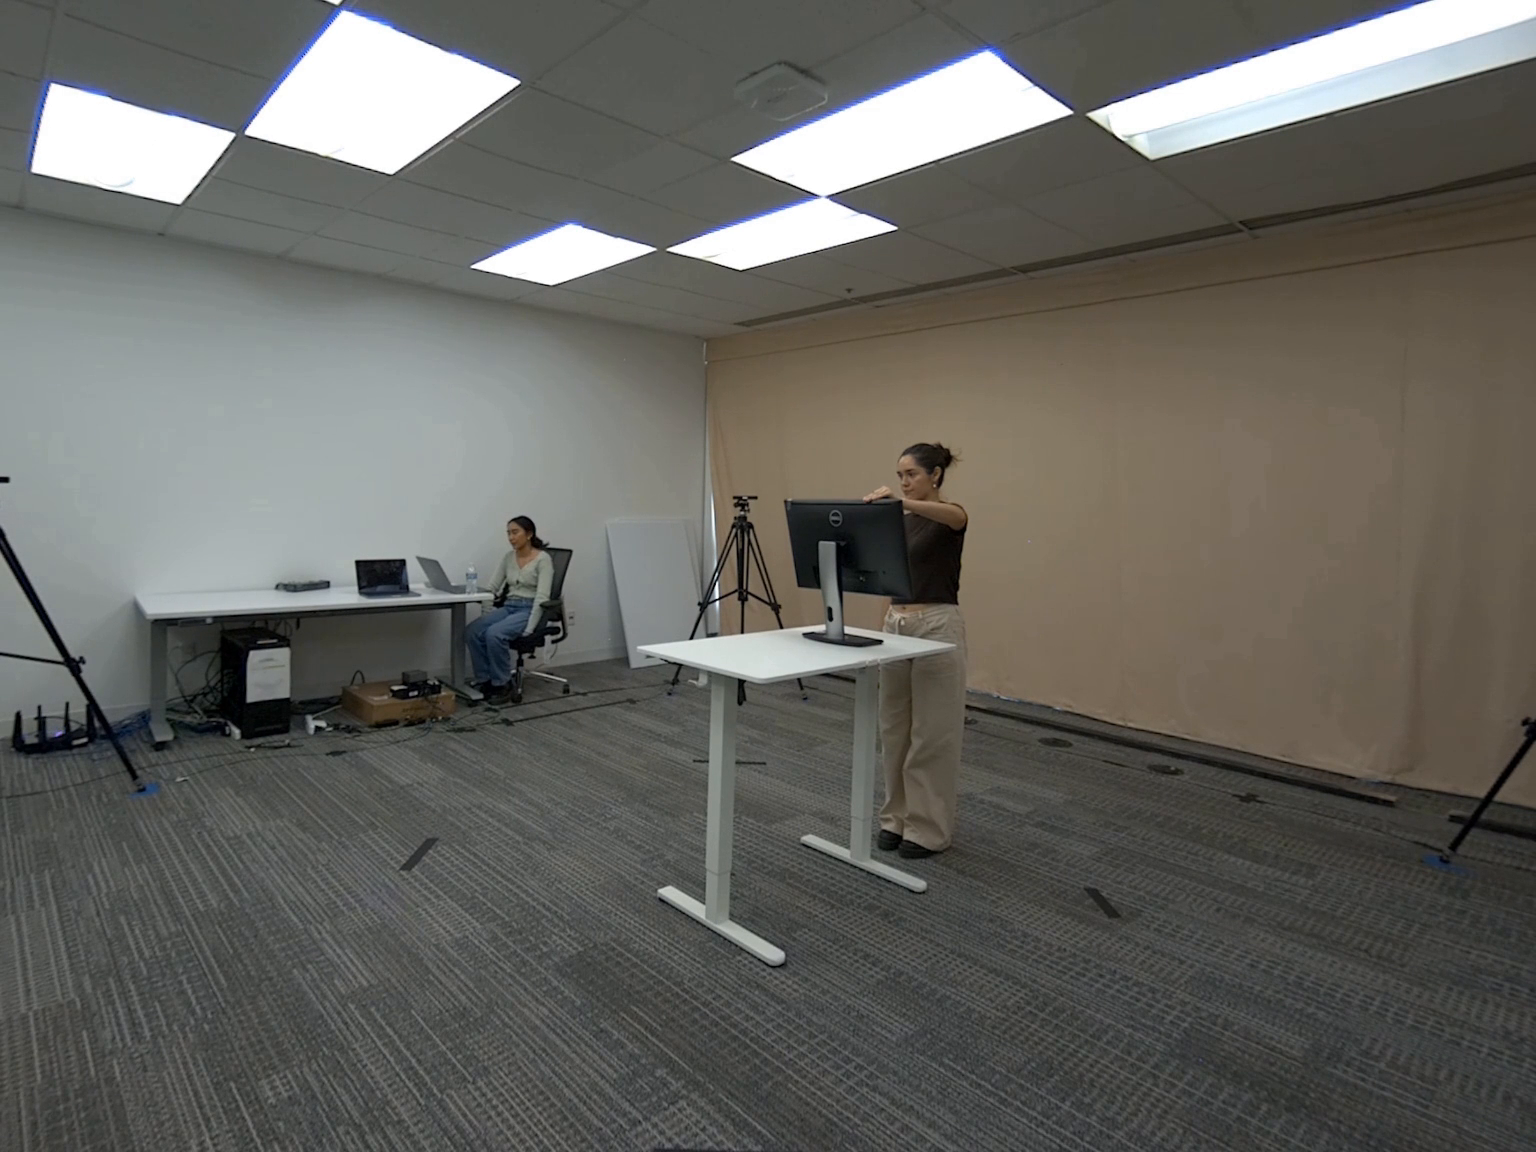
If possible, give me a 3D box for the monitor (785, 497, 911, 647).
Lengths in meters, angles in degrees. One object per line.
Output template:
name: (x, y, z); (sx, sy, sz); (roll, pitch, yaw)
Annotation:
monitor: (0.259, -0.013, 3.042); (0.553, 0.520, 0.183); (5, 7, 44)
